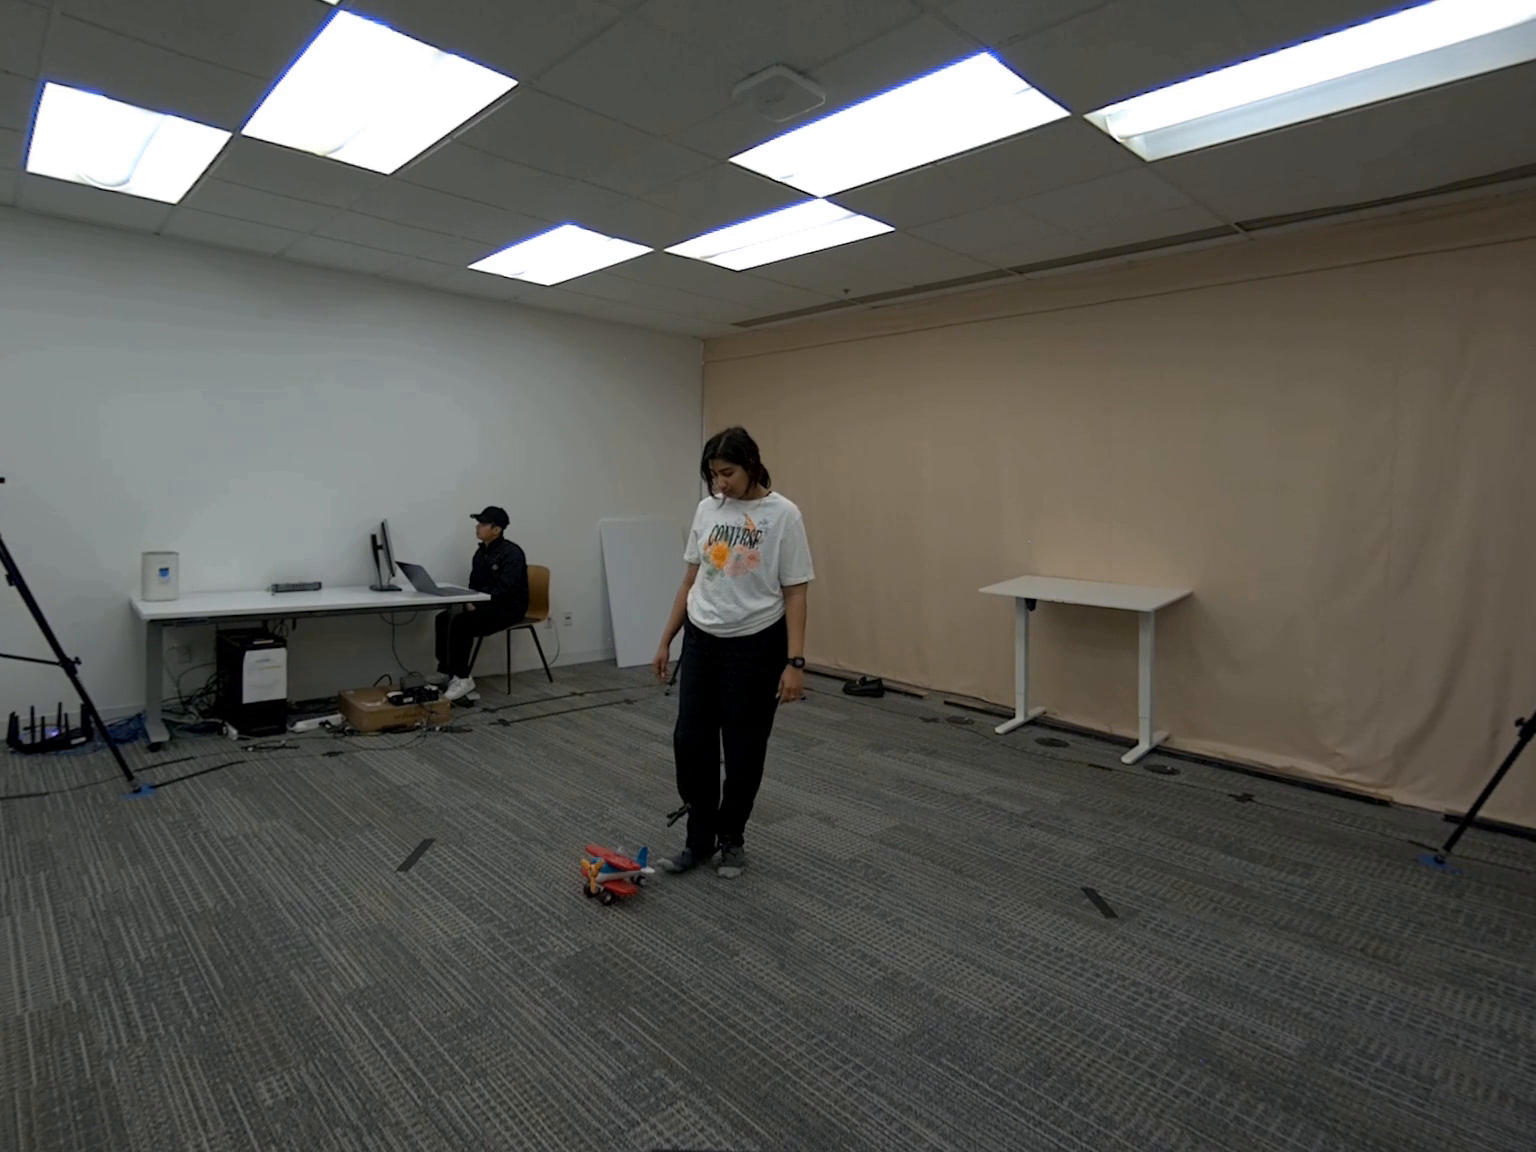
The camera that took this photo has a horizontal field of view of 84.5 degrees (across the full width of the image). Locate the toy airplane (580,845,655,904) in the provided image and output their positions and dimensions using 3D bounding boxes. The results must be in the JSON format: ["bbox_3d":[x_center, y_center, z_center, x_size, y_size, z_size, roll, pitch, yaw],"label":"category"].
[{"bbox_3d":[-0.542,1.032,2.950,0.254,0.156,0.257,2,6,13],"label":"toy airplane"}]
